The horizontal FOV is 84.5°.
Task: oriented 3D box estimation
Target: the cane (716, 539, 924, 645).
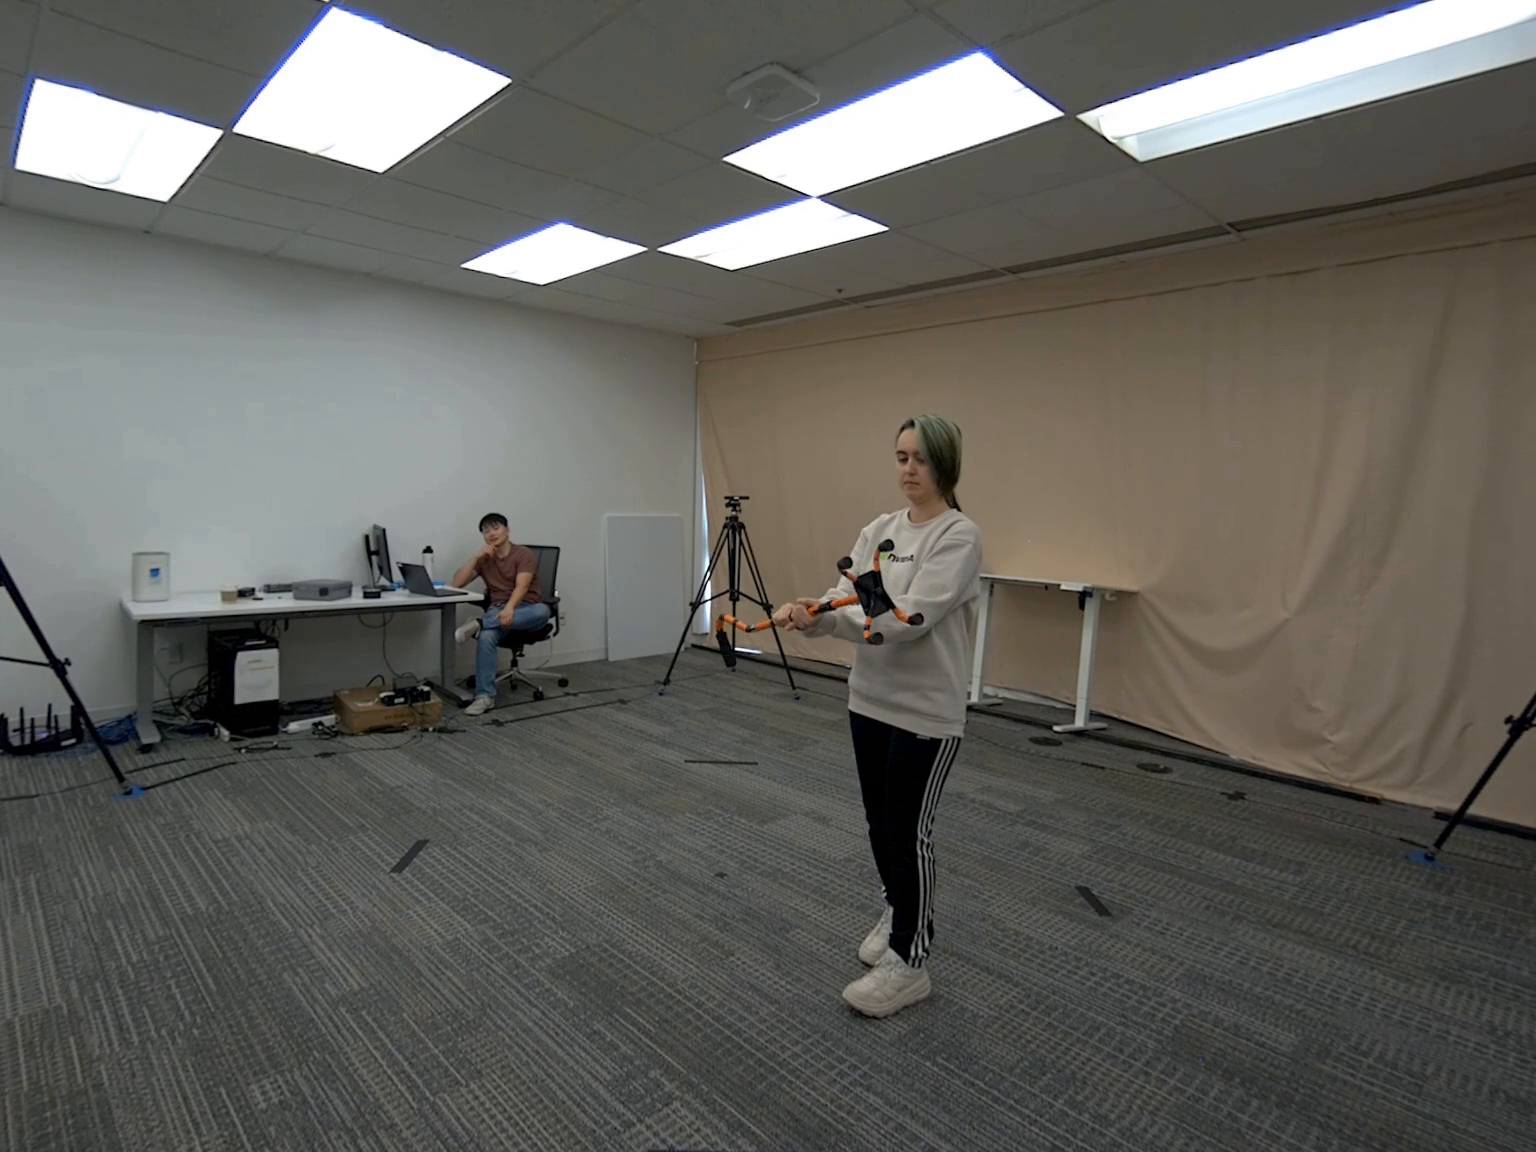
[{"bbox_3d":[0.038,0.120,2.251,0.149,0.207,0.917,-19,-2,-29],"label":"cane"}]
